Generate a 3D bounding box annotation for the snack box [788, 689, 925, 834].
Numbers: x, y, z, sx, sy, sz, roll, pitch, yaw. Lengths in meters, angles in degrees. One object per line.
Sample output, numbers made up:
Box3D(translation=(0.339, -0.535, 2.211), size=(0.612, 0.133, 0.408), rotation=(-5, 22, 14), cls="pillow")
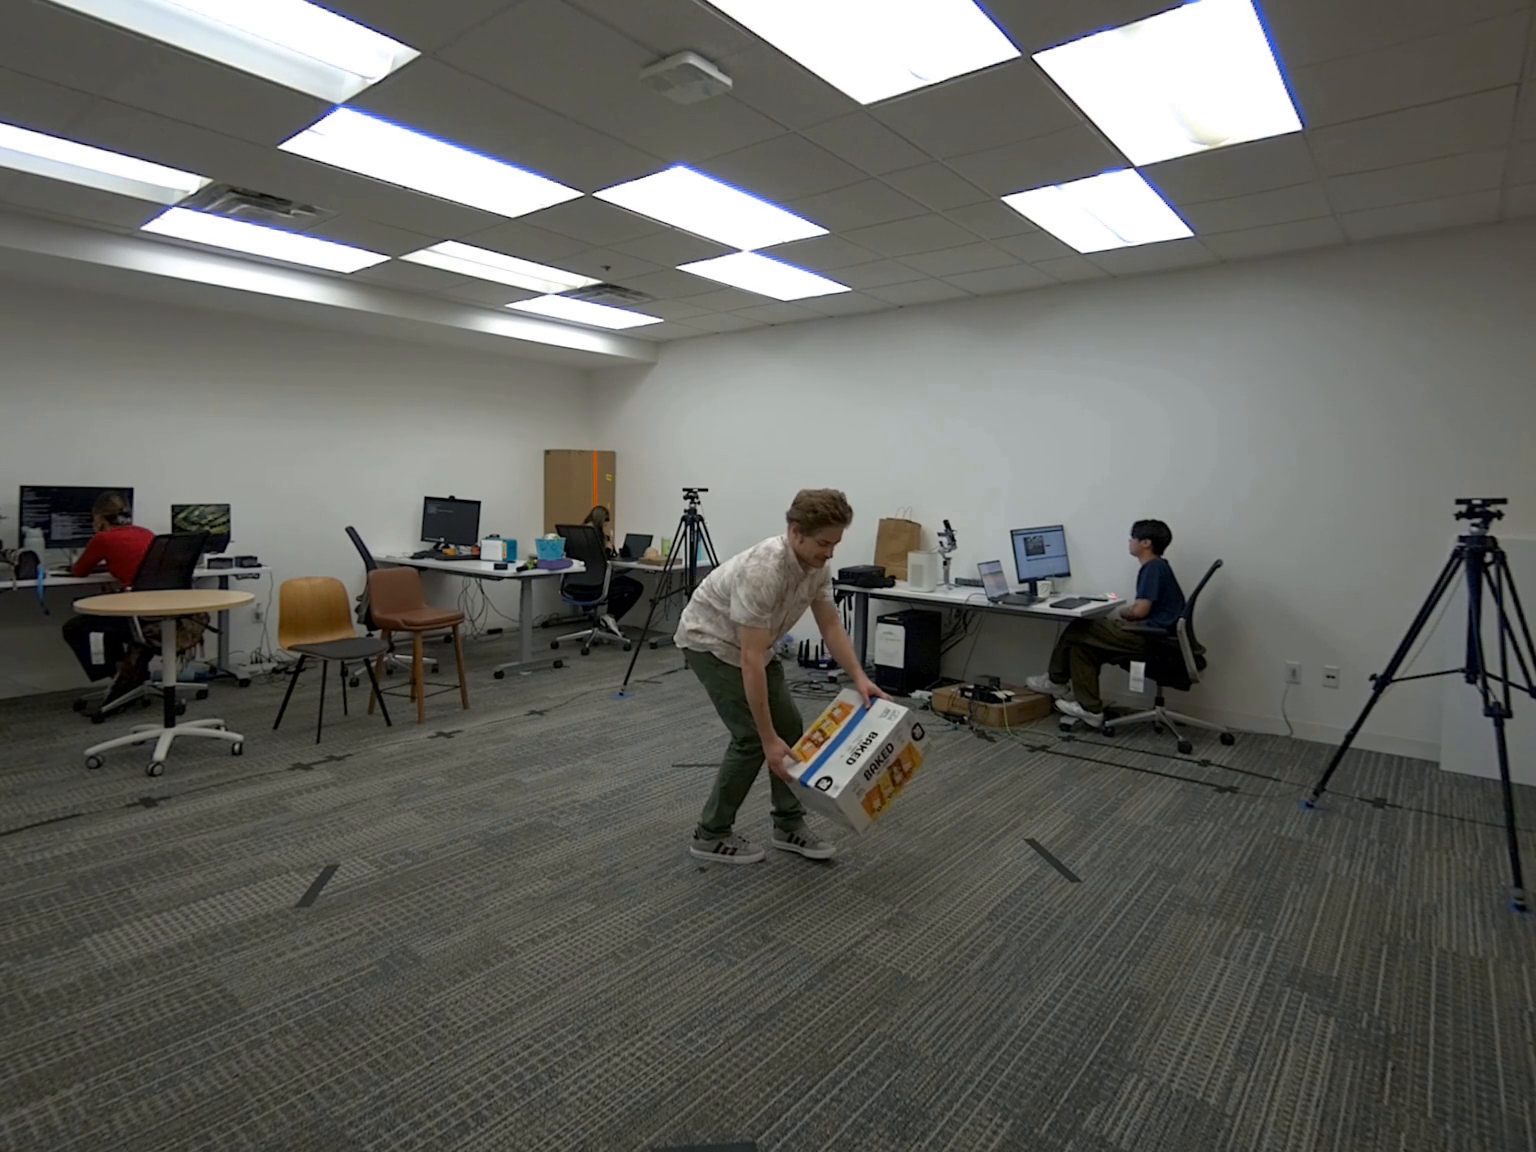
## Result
Box3D(translation=(0.297, 0.635, 2.950), size=(0.404, 0.200, 0.351), rotation=(-46, 26, -21), cls="snack box")
